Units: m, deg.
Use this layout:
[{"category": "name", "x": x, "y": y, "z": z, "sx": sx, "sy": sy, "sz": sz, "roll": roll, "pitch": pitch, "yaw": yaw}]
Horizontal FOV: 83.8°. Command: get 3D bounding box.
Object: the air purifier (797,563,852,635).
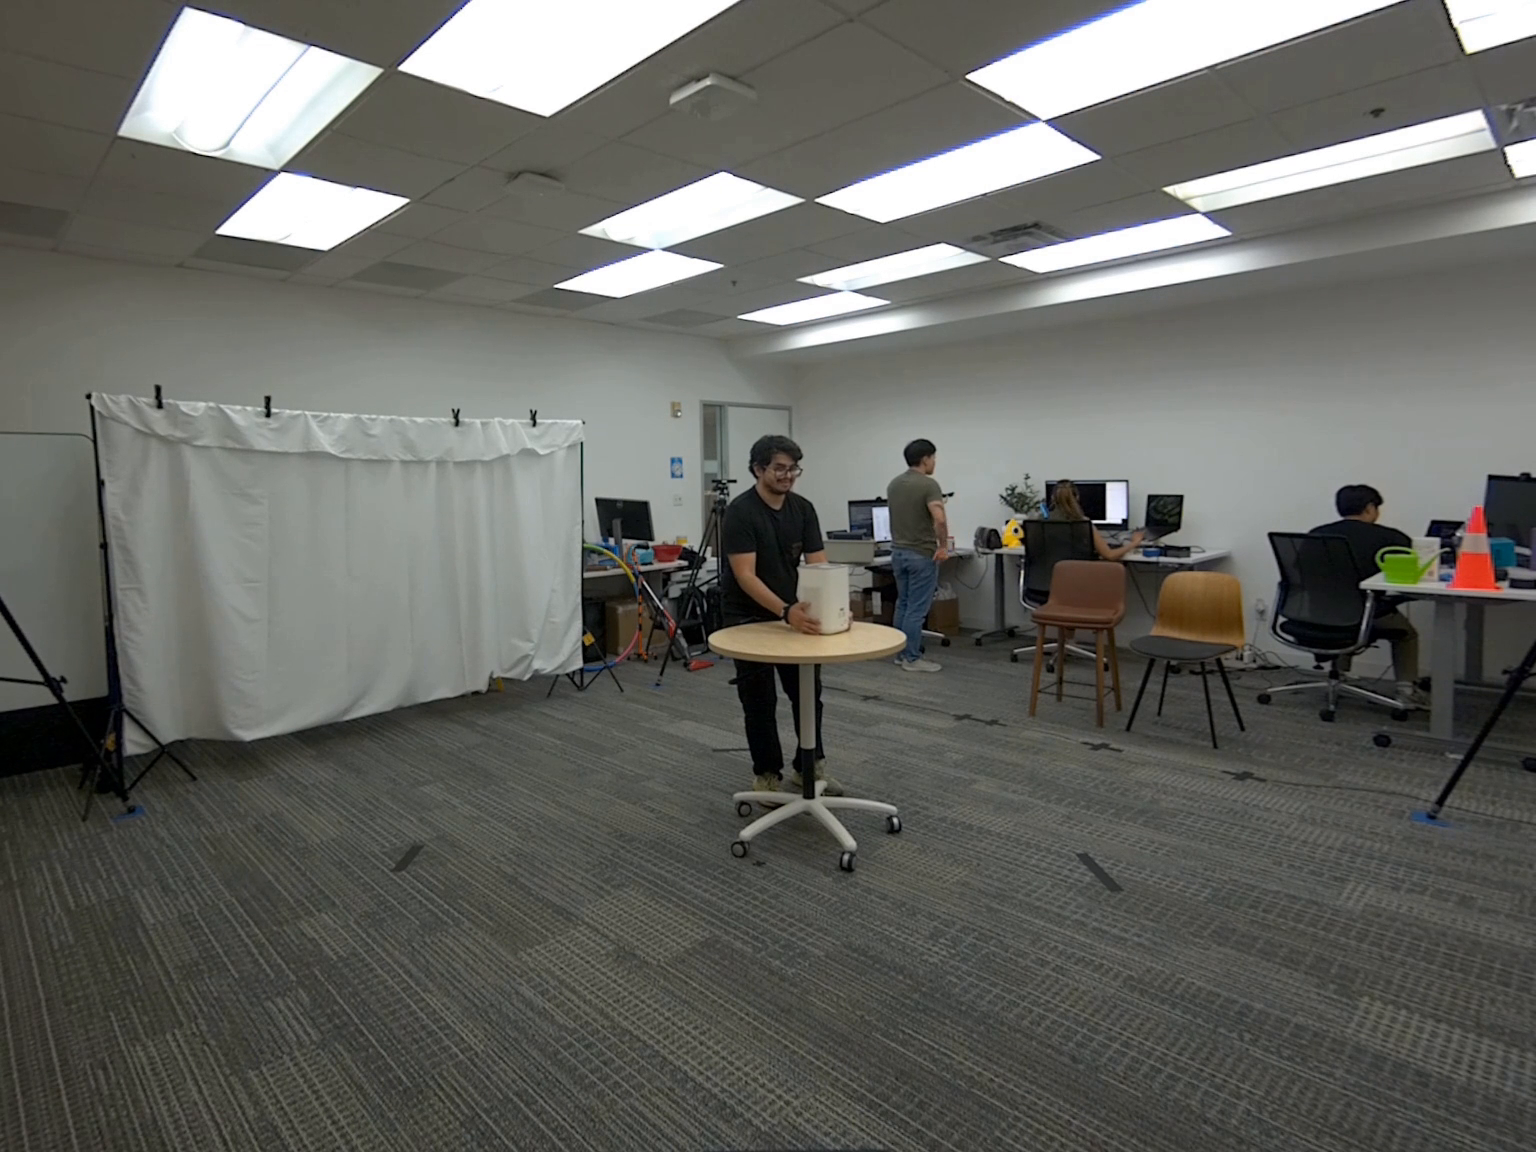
[{"category": "air purifier", "x": 0.232, "y": 0.092, "z": 3.427, "sx": 0.177, "sy": 0.264, "sz": 0.166, "roll": 3, "pitch": 6, "yaw": 40}]
